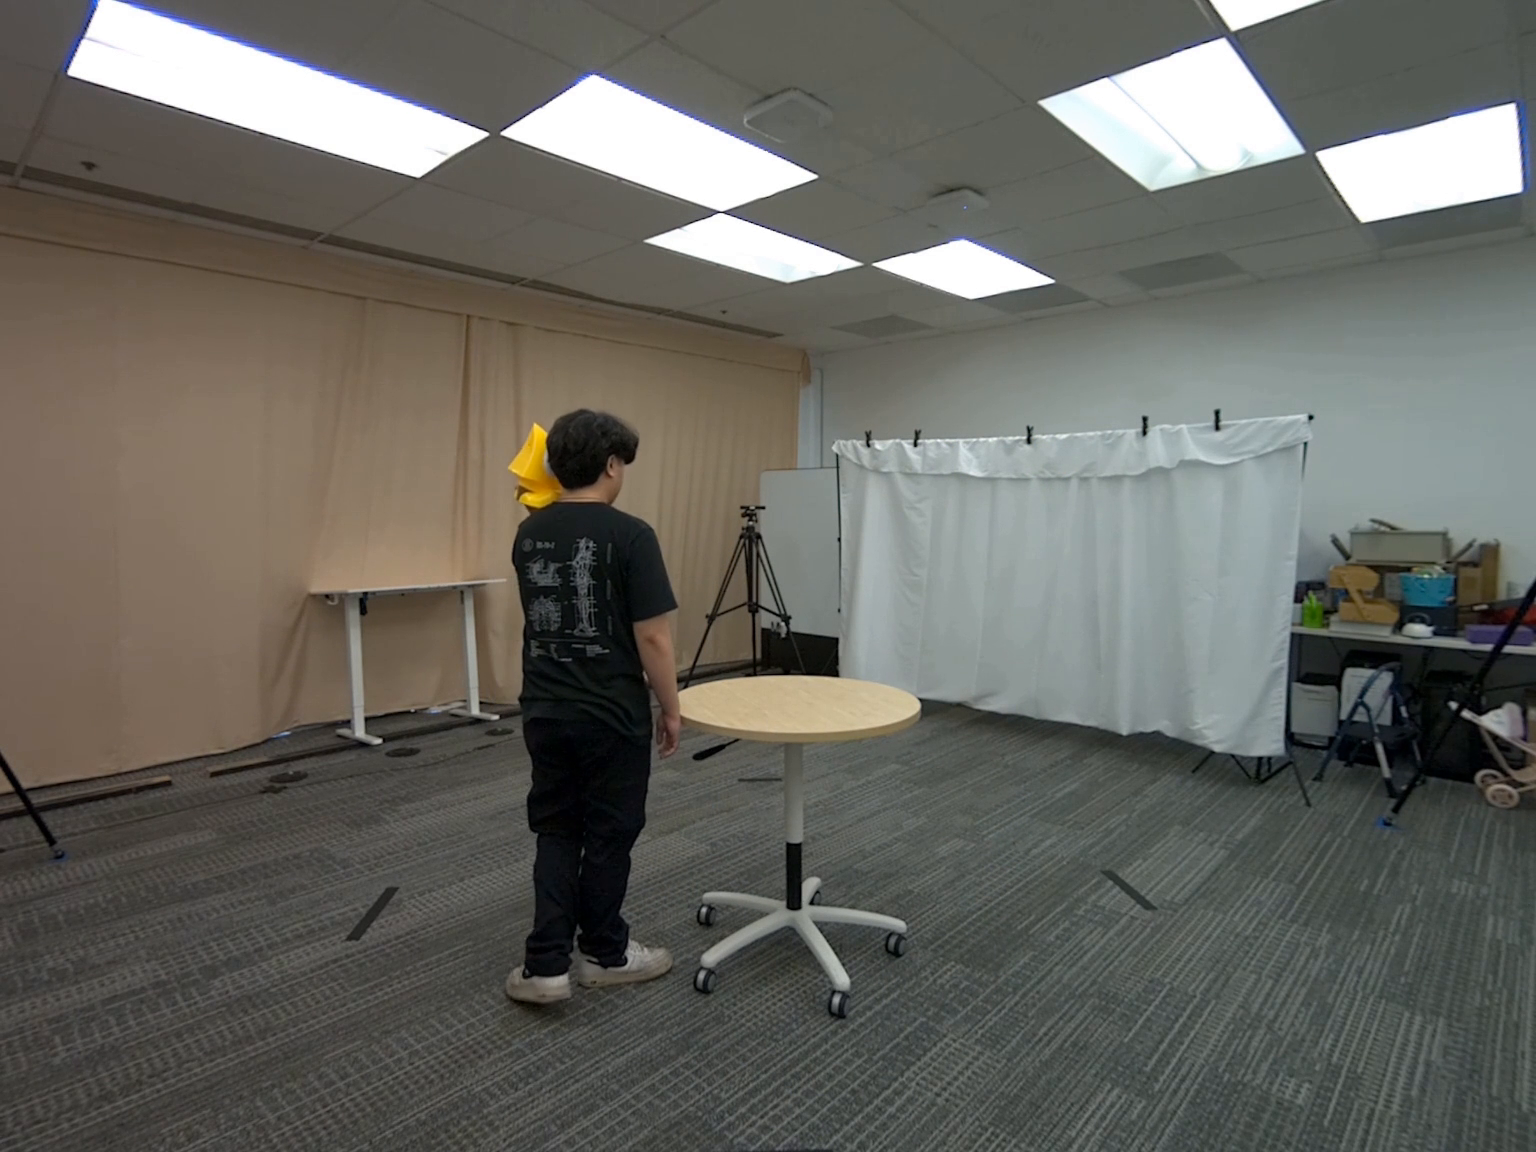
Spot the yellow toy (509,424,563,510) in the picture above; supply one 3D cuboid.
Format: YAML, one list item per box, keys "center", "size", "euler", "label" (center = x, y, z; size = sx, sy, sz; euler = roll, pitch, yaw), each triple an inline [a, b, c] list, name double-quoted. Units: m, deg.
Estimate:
- center: [-0.659, -0.326, 2.493]
  size: [0.187, 0.230, 0.211]
  euler: [9, 9, -30]
  label: "yellow toy"
